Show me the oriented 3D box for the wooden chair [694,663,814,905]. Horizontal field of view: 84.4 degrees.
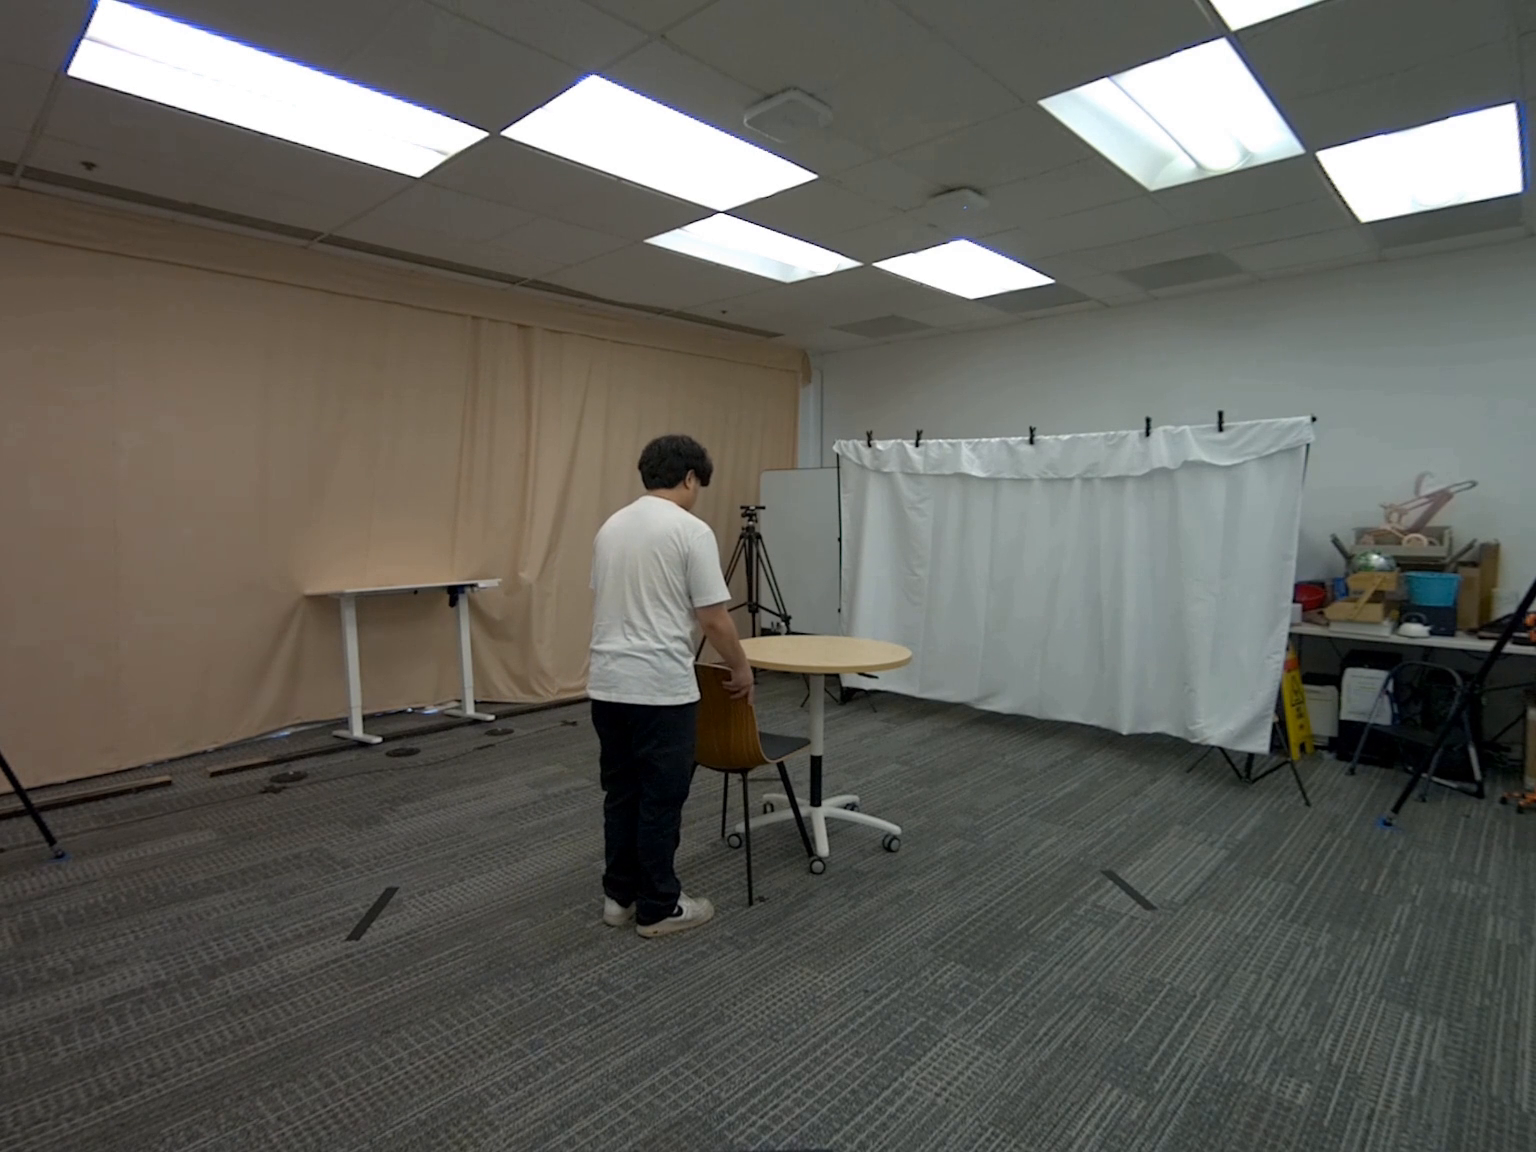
[{"bbox_3d":[-0.120,0.698,3.215,0.493,0.874,0.509,1,7,35],"label":"wooden chair"}]
